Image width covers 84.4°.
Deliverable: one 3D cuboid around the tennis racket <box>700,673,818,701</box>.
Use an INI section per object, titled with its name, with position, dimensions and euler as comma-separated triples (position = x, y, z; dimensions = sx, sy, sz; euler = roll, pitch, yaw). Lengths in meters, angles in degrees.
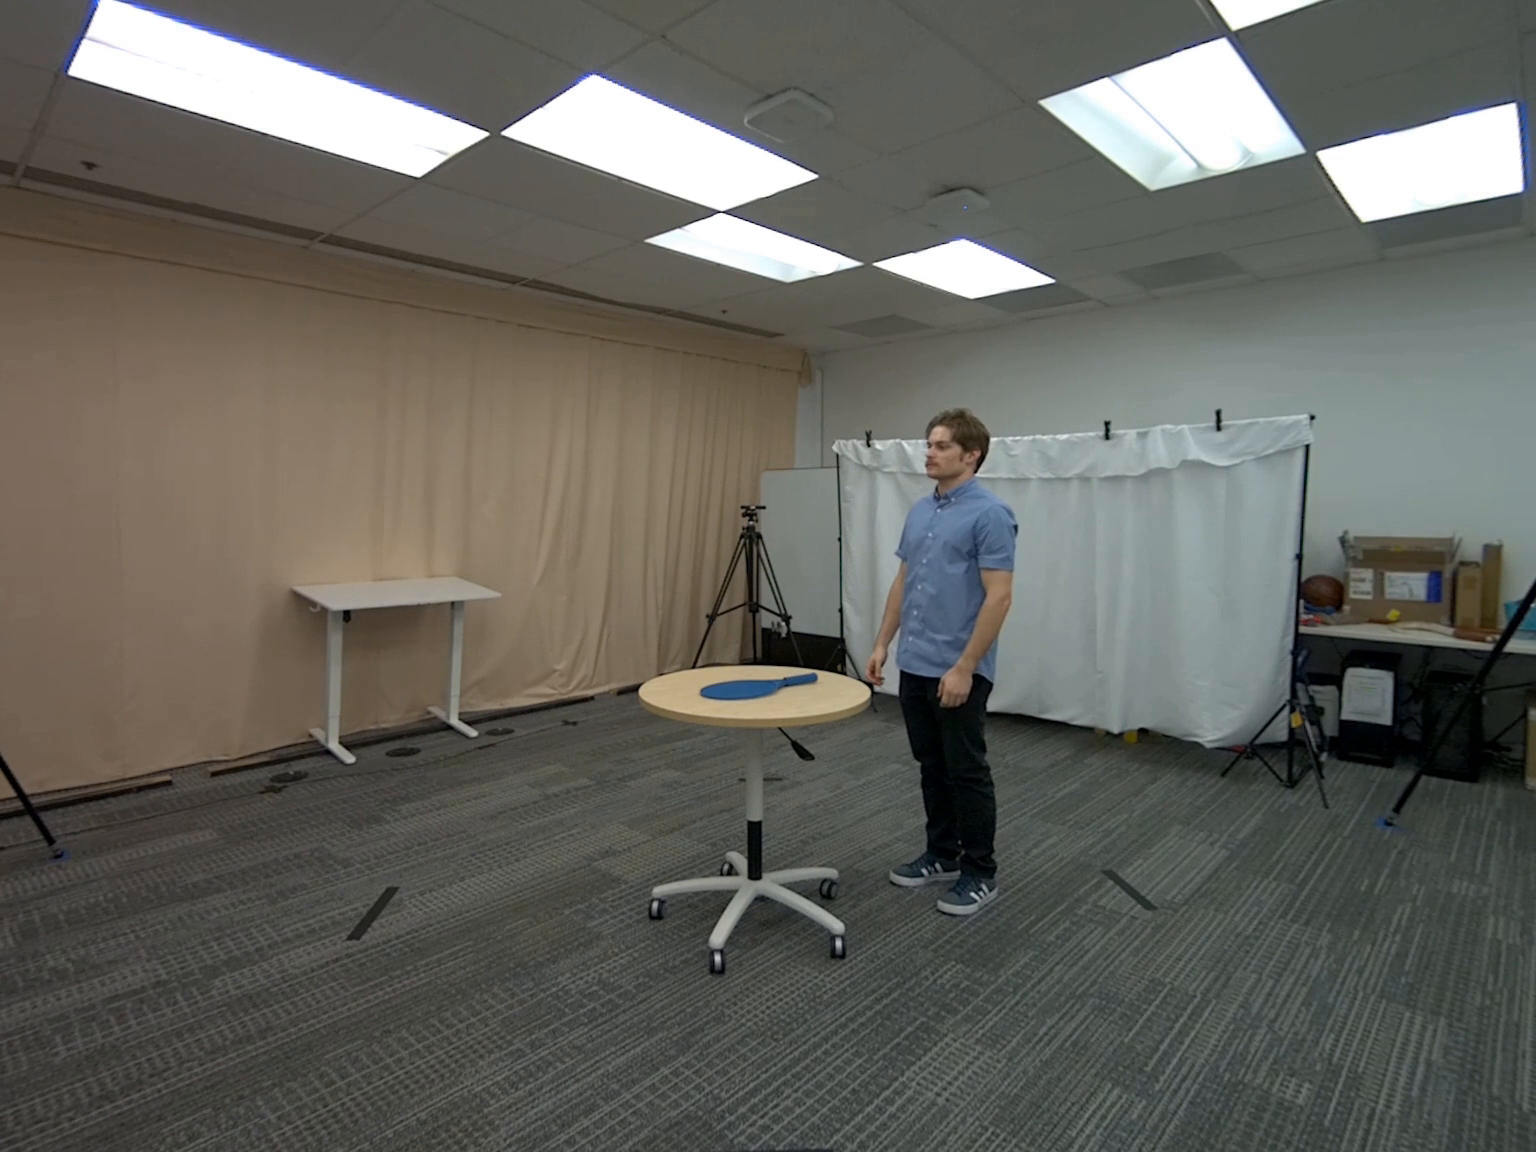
[tennis racket]
position = -0.021, 0.373, 2.776
dimensions = 0.423, 0.031, 0.219
euler = -5, 6, -25
